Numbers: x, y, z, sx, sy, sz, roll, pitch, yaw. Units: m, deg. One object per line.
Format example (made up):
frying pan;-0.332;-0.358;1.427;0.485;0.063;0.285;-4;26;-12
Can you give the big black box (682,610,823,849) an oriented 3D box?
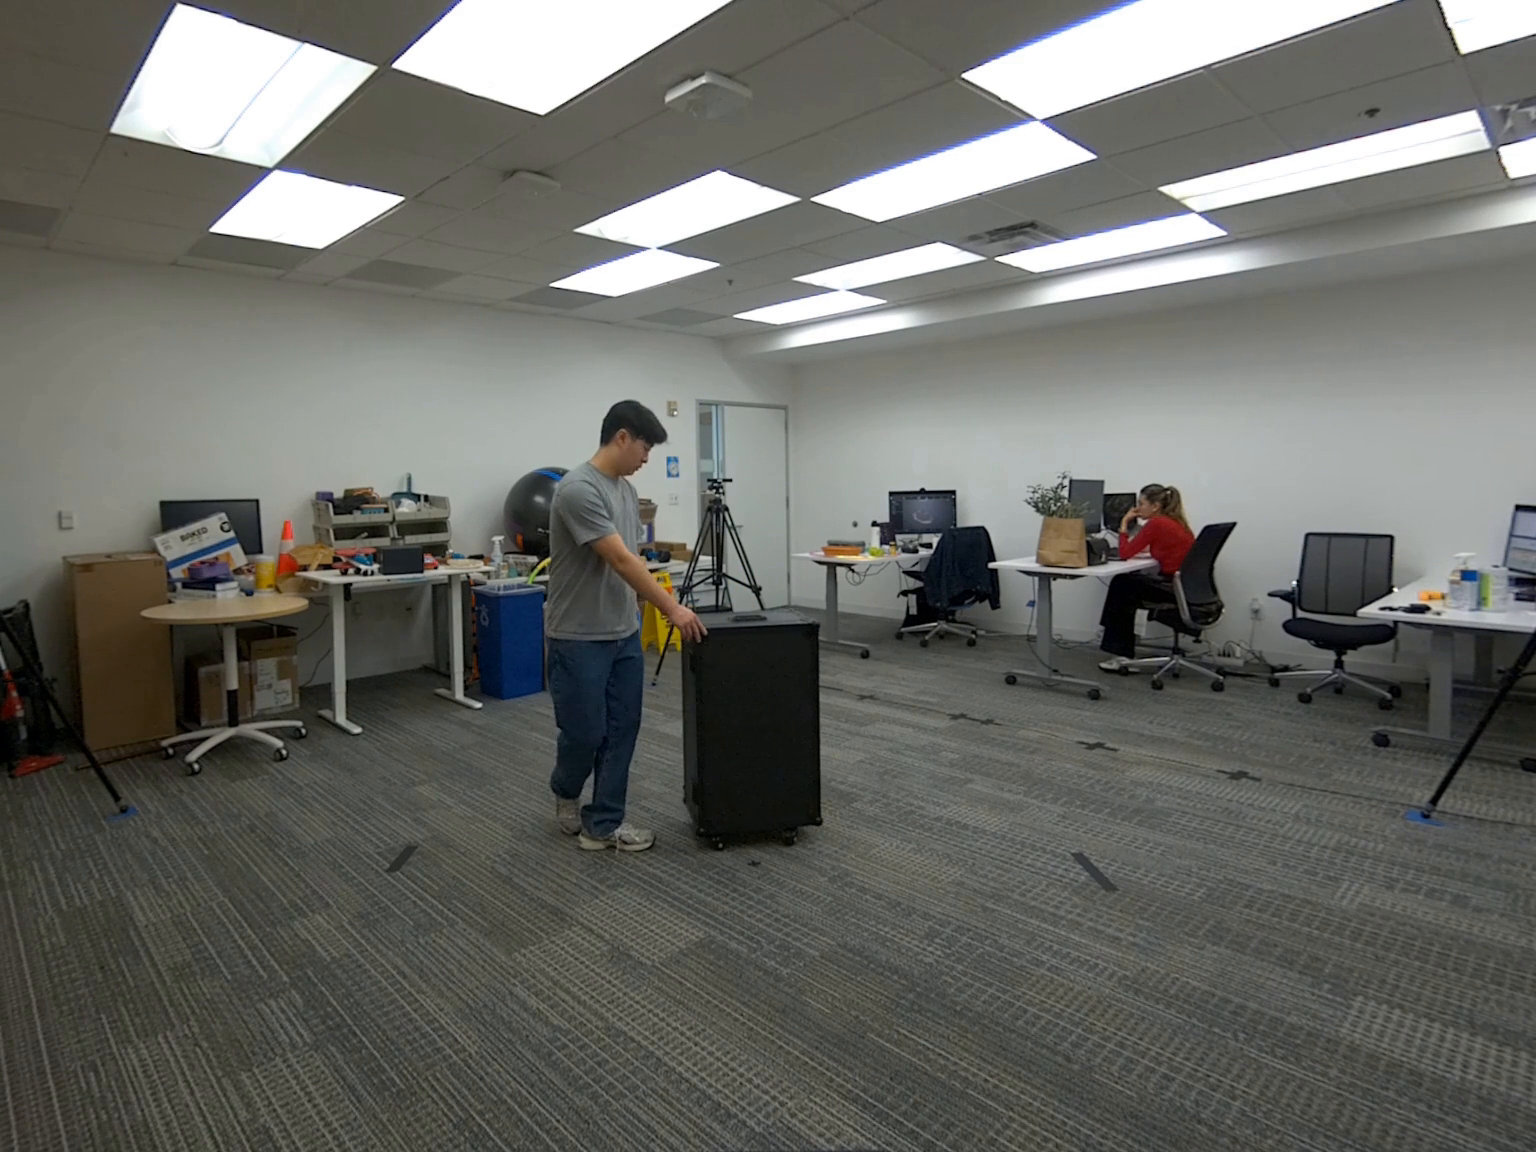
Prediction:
big black box;-0.085;0.592;3.378;0.516;0.860;0.401;-1;2;-12
